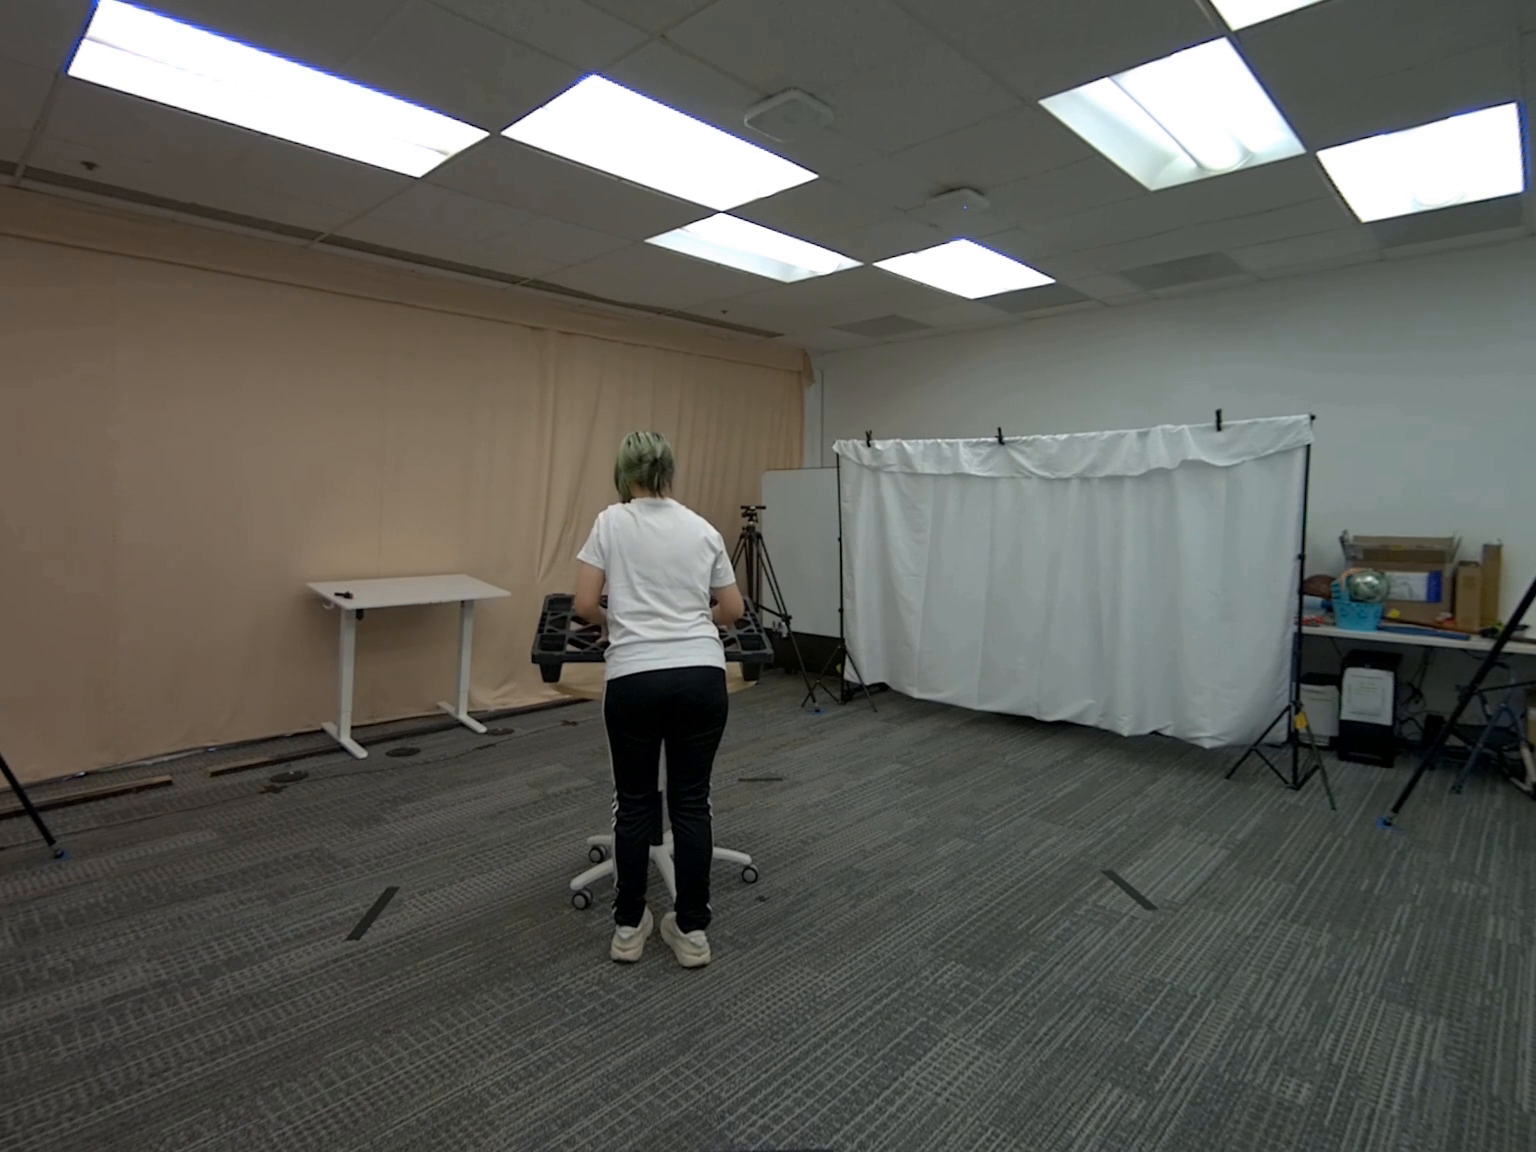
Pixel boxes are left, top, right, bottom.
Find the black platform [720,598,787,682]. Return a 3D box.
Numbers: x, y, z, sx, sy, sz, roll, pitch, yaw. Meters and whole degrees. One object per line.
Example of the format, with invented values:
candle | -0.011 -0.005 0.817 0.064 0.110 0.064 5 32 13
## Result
black platform | -0.414 0.230 3.051 0.800 0.142 0.615 1 18 -7
